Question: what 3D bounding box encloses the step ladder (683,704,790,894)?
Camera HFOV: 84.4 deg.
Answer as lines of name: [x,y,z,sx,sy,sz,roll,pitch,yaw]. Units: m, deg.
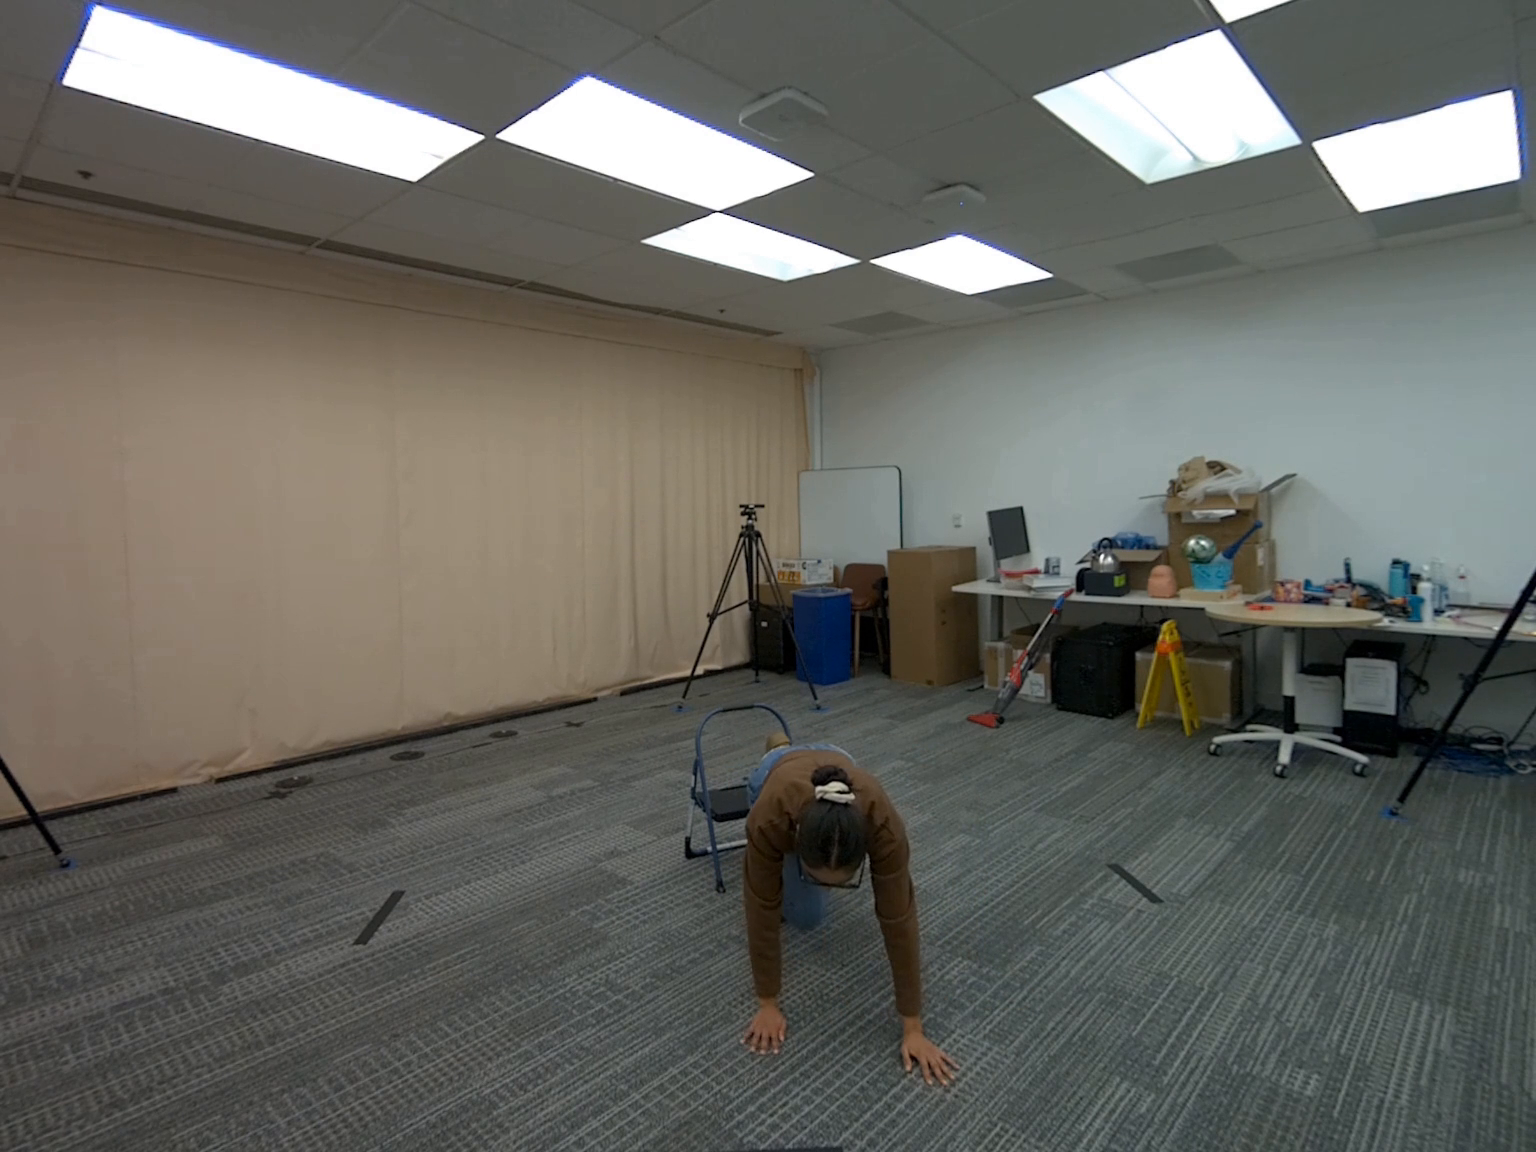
step ladder: [-0.073,0.818,3.258,0.420,0.604,0.359,-3,4,-27]
